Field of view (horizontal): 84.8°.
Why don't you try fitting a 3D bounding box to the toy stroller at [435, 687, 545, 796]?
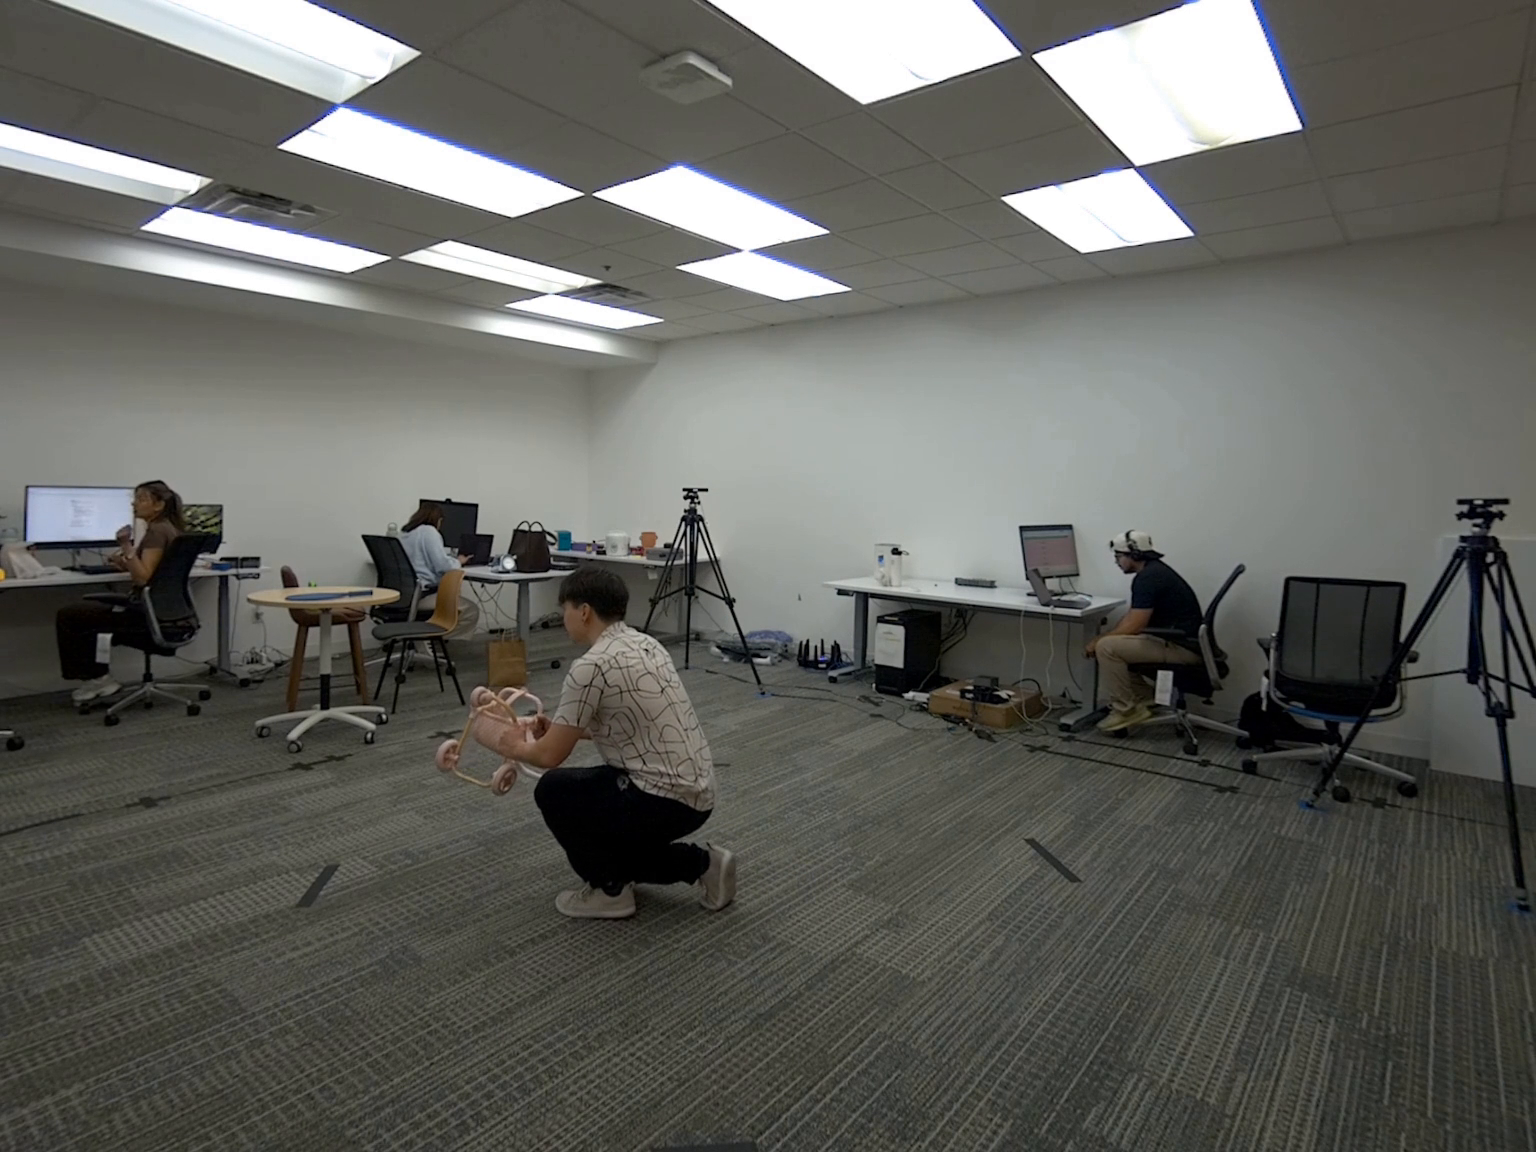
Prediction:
[{"bbox_3d":[-0.929,0.565,3.007,0.289,0.343,0.518,8,-7,23],"label":"toy stroller"}]
